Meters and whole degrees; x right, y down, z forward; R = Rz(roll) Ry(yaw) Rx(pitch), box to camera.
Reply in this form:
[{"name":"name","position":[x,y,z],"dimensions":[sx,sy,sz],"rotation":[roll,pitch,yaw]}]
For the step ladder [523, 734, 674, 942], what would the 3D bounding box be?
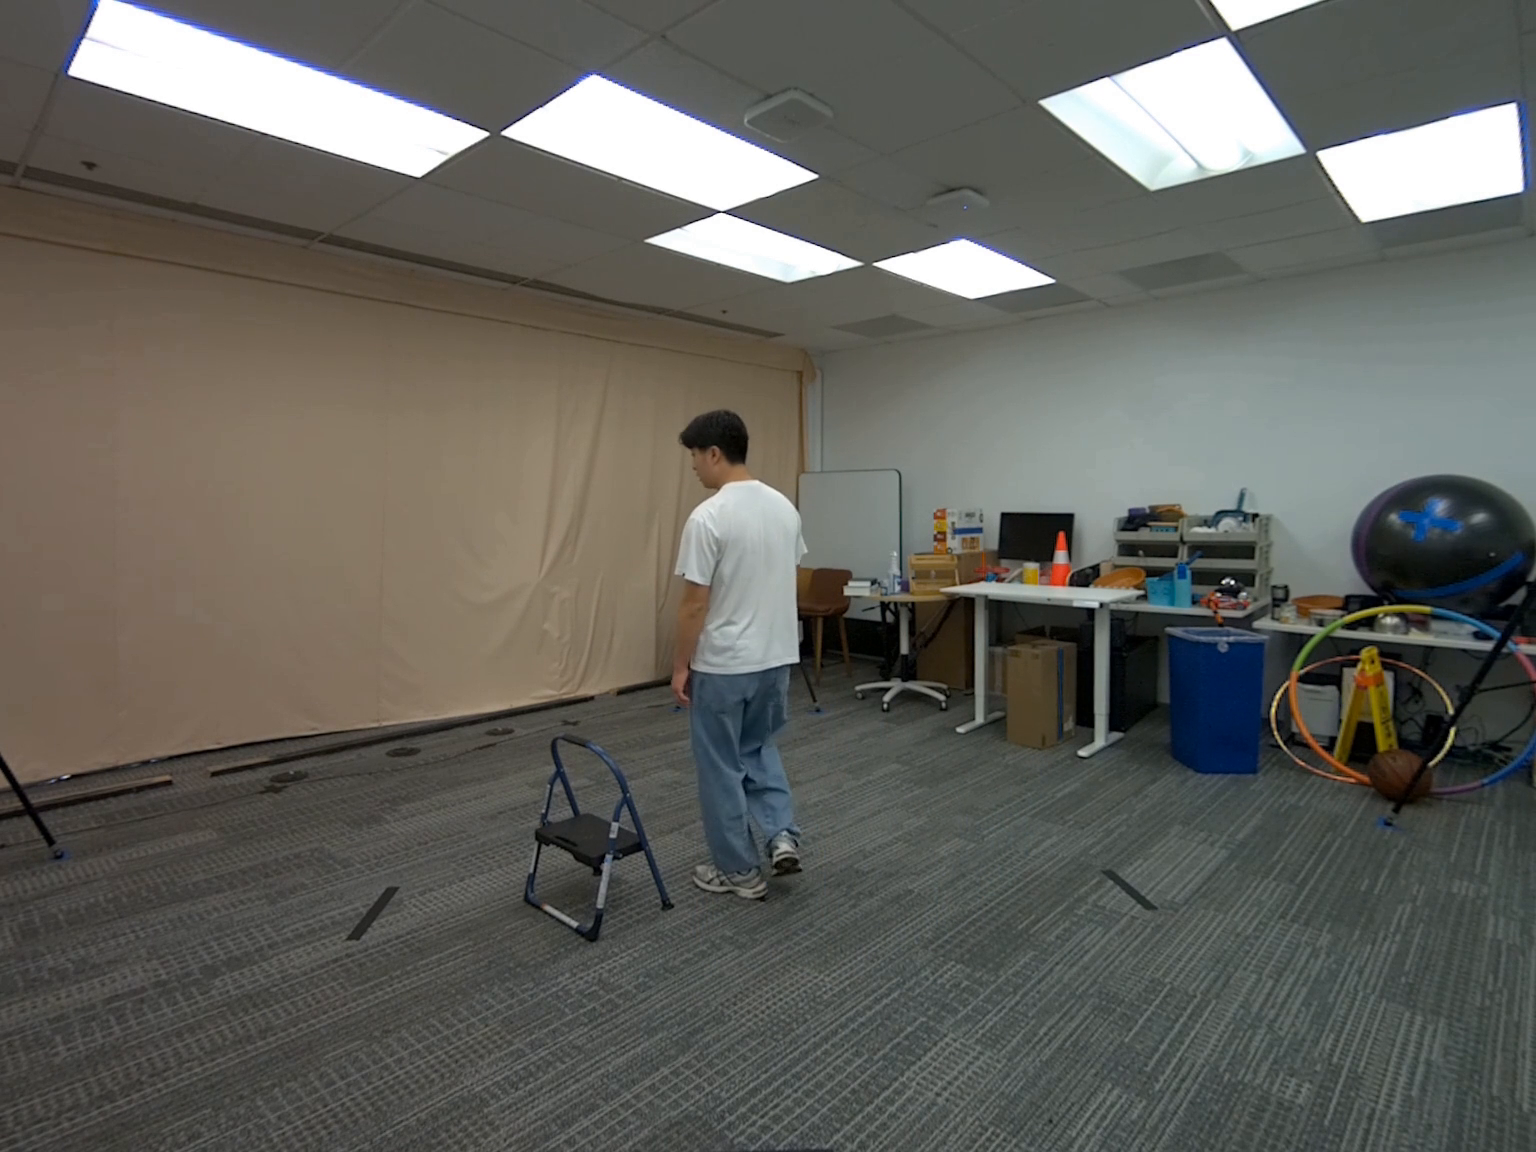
[{"name":"step ladder","position":[-0.600,0.850,2.937],"dimensions":[0.445,0.605,0.338],"rotation":[2,3,43]}]
